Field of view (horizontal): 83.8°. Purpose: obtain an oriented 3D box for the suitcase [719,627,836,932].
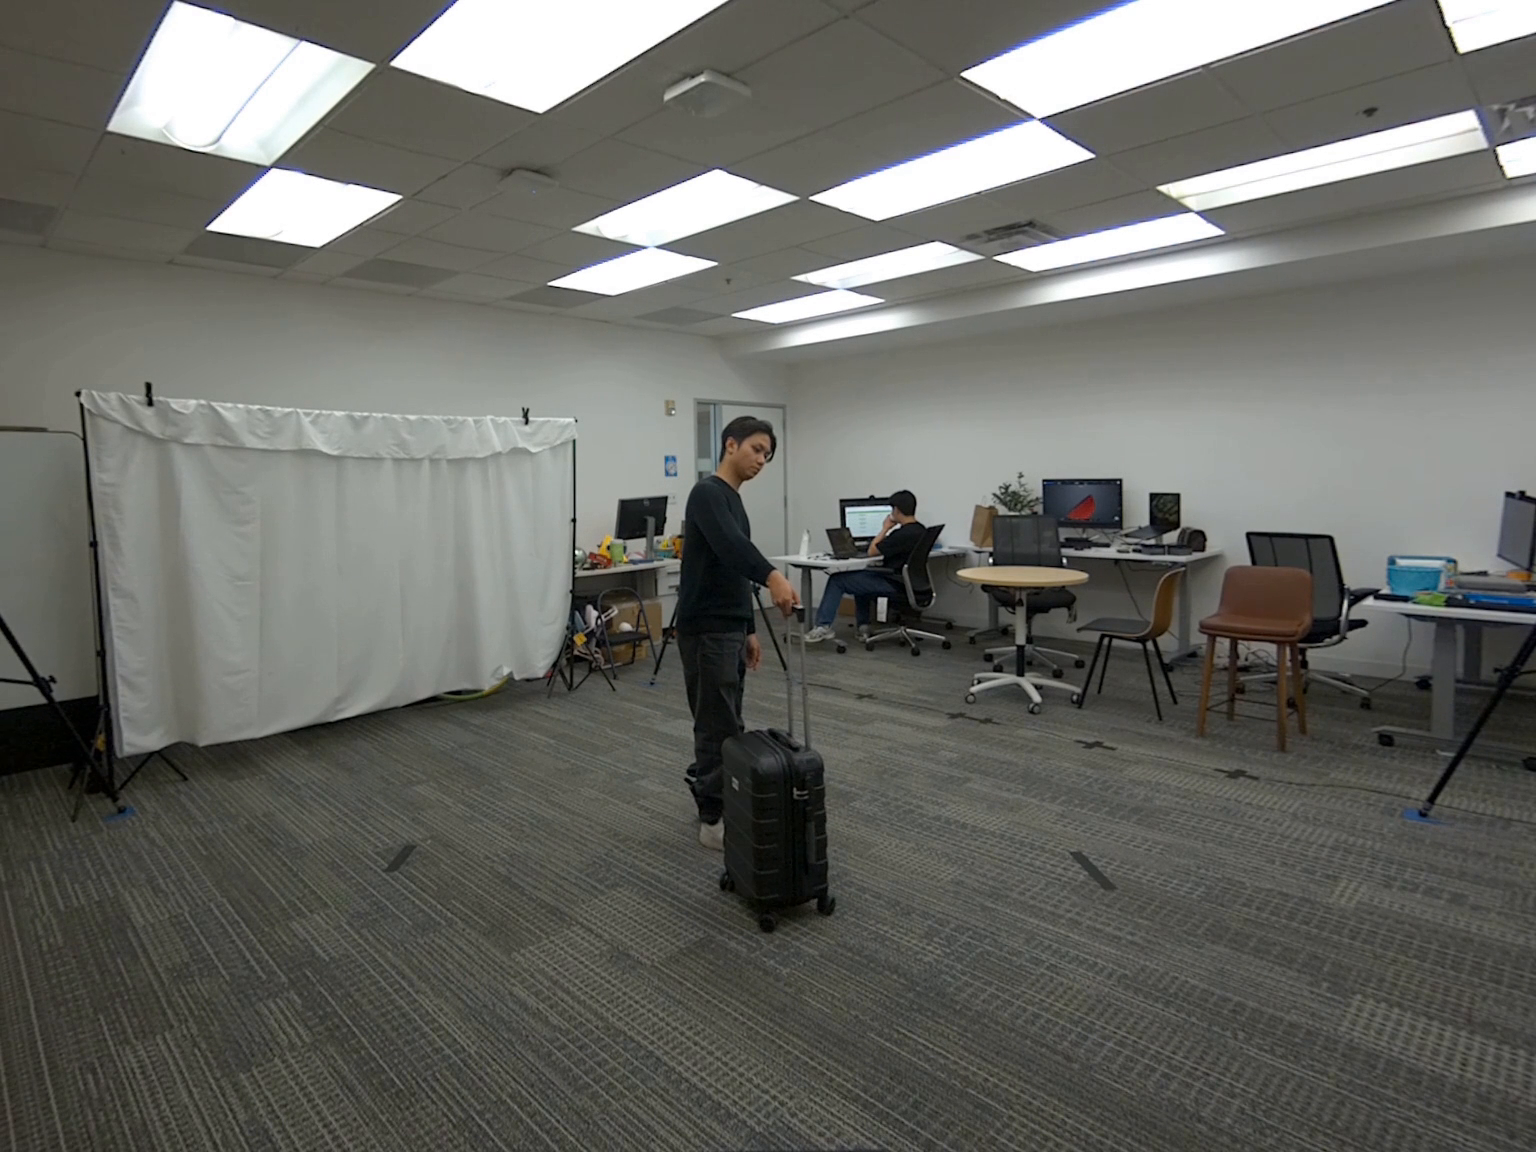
[{"bbox_3d":[0.011,0.601,2.786,0.253,0.974,0.392,-5,5,-19],"label":"suitcase"}]
